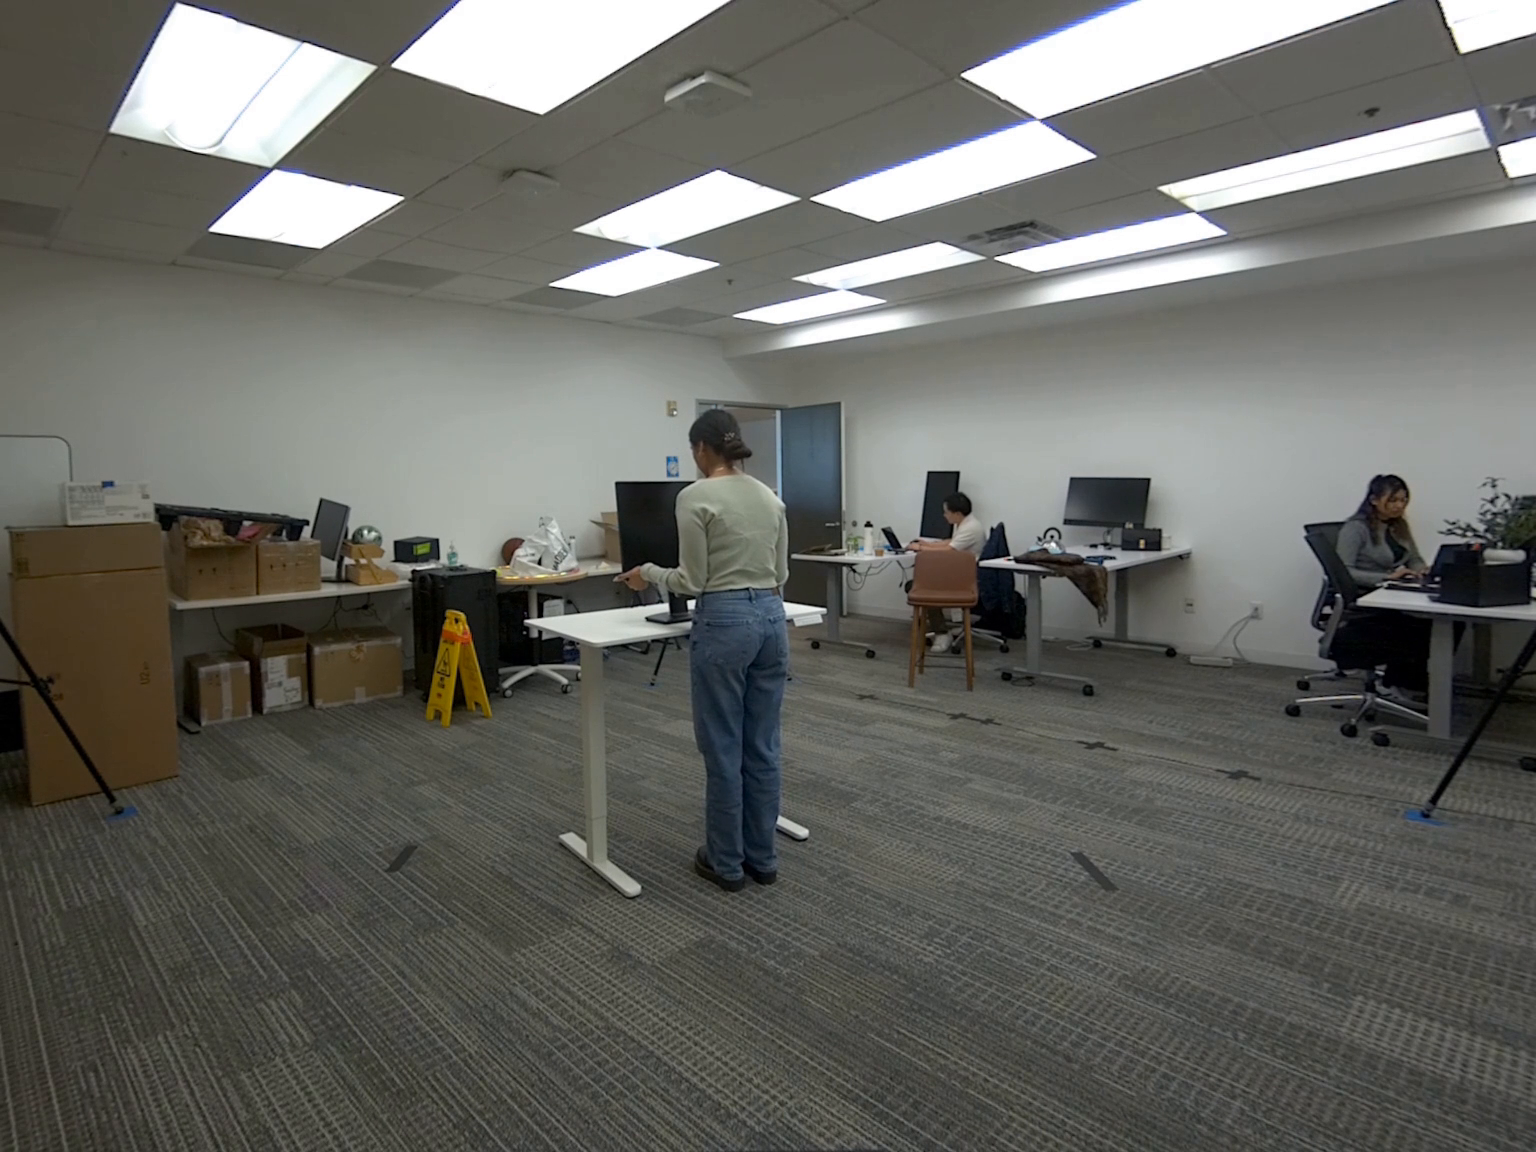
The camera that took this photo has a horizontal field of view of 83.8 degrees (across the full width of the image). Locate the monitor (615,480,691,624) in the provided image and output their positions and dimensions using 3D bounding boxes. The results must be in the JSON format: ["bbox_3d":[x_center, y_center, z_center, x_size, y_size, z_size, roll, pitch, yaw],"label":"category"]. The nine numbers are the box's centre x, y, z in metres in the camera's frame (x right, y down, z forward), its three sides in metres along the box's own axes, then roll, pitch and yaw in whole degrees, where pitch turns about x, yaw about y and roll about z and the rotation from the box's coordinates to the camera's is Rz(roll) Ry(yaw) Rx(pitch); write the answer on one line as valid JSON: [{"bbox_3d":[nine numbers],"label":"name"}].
[{"bbox_3d":[-0.325,-0.089,3.180,0.525,0.520,0.193,-5,7,-40],"label":"monitor"}]
